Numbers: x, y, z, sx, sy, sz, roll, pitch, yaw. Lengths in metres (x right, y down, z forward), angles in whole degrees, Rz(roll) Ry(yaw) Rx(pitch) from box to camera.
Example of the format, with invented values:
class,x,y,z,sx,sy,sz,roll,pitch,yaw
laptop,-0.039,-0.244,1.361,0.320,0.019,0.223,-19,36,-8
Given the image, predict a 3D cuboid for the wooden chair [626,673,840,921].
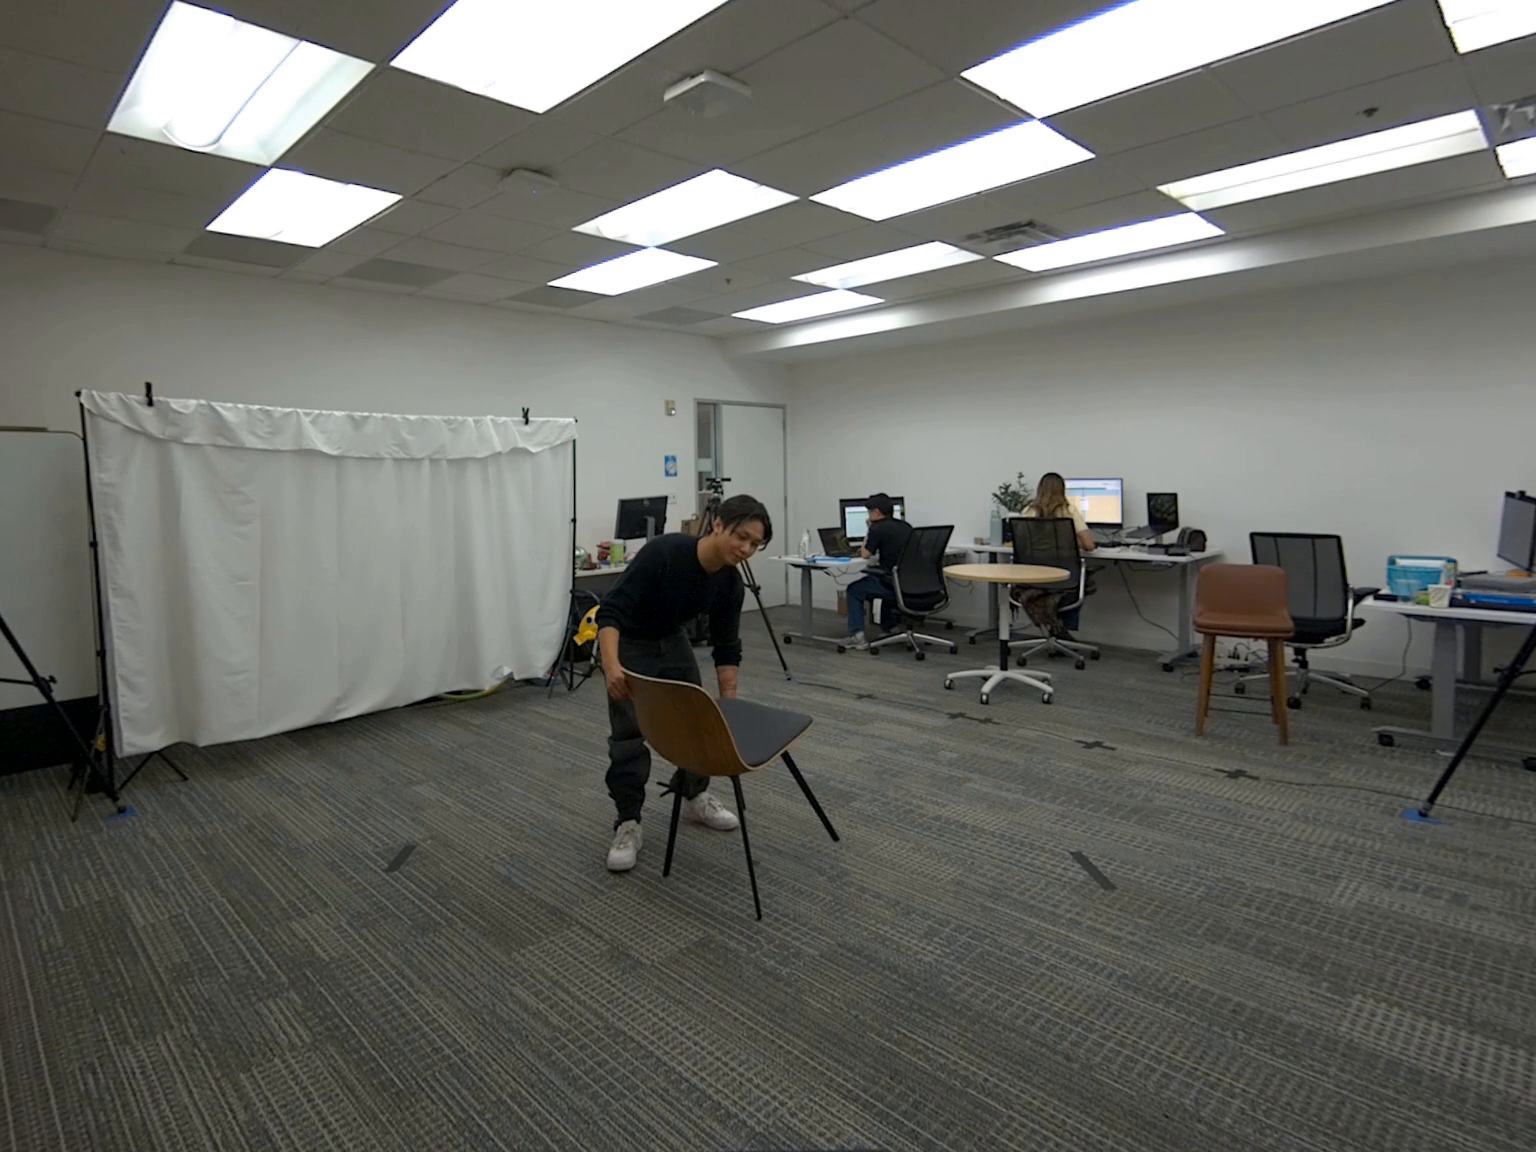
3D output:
class,x,y,z,sx,sy,sz,roll,pitch,yaw
wooden chair,-0.128,0.595,2.906,0.492,0.860,0.518,3,25,41
